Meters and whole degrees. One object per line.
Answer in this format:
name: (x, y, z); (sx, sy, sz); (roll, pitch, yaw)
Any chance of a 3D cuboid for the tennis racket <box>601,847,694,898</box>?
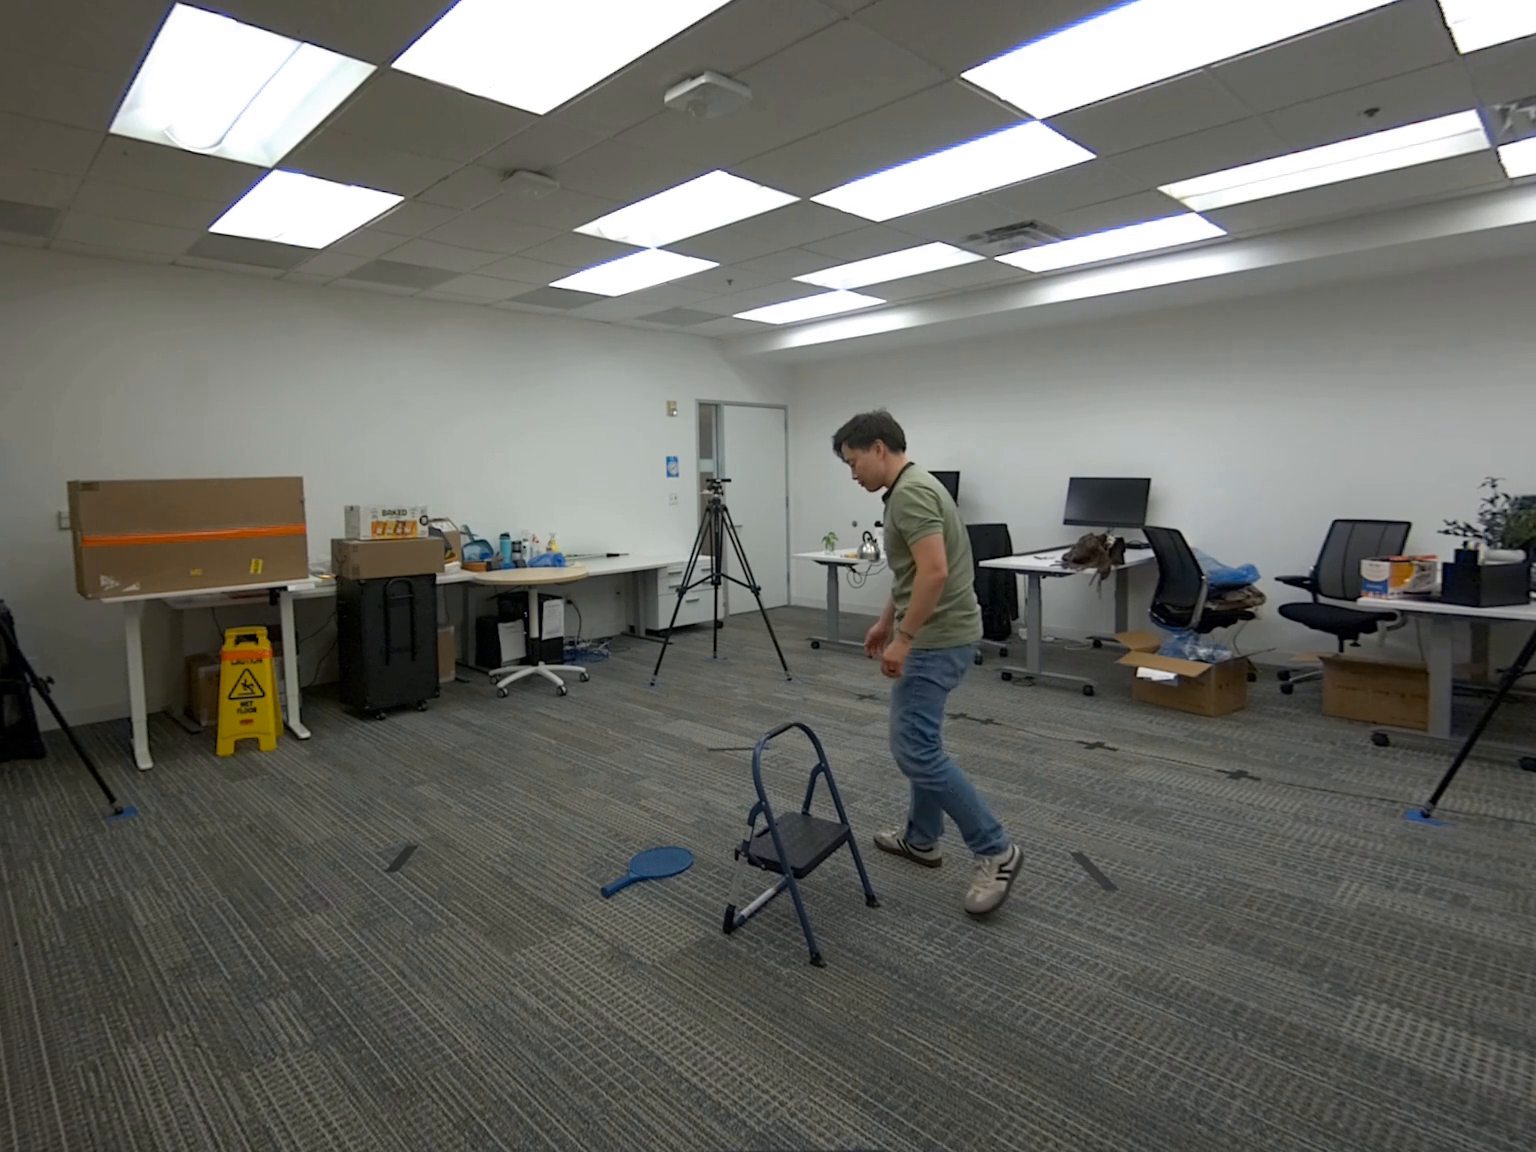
tennis racket: (-0.431, 1.042, 3.047); (0.220, 0.031, 0.422); (3, 6, 35)
